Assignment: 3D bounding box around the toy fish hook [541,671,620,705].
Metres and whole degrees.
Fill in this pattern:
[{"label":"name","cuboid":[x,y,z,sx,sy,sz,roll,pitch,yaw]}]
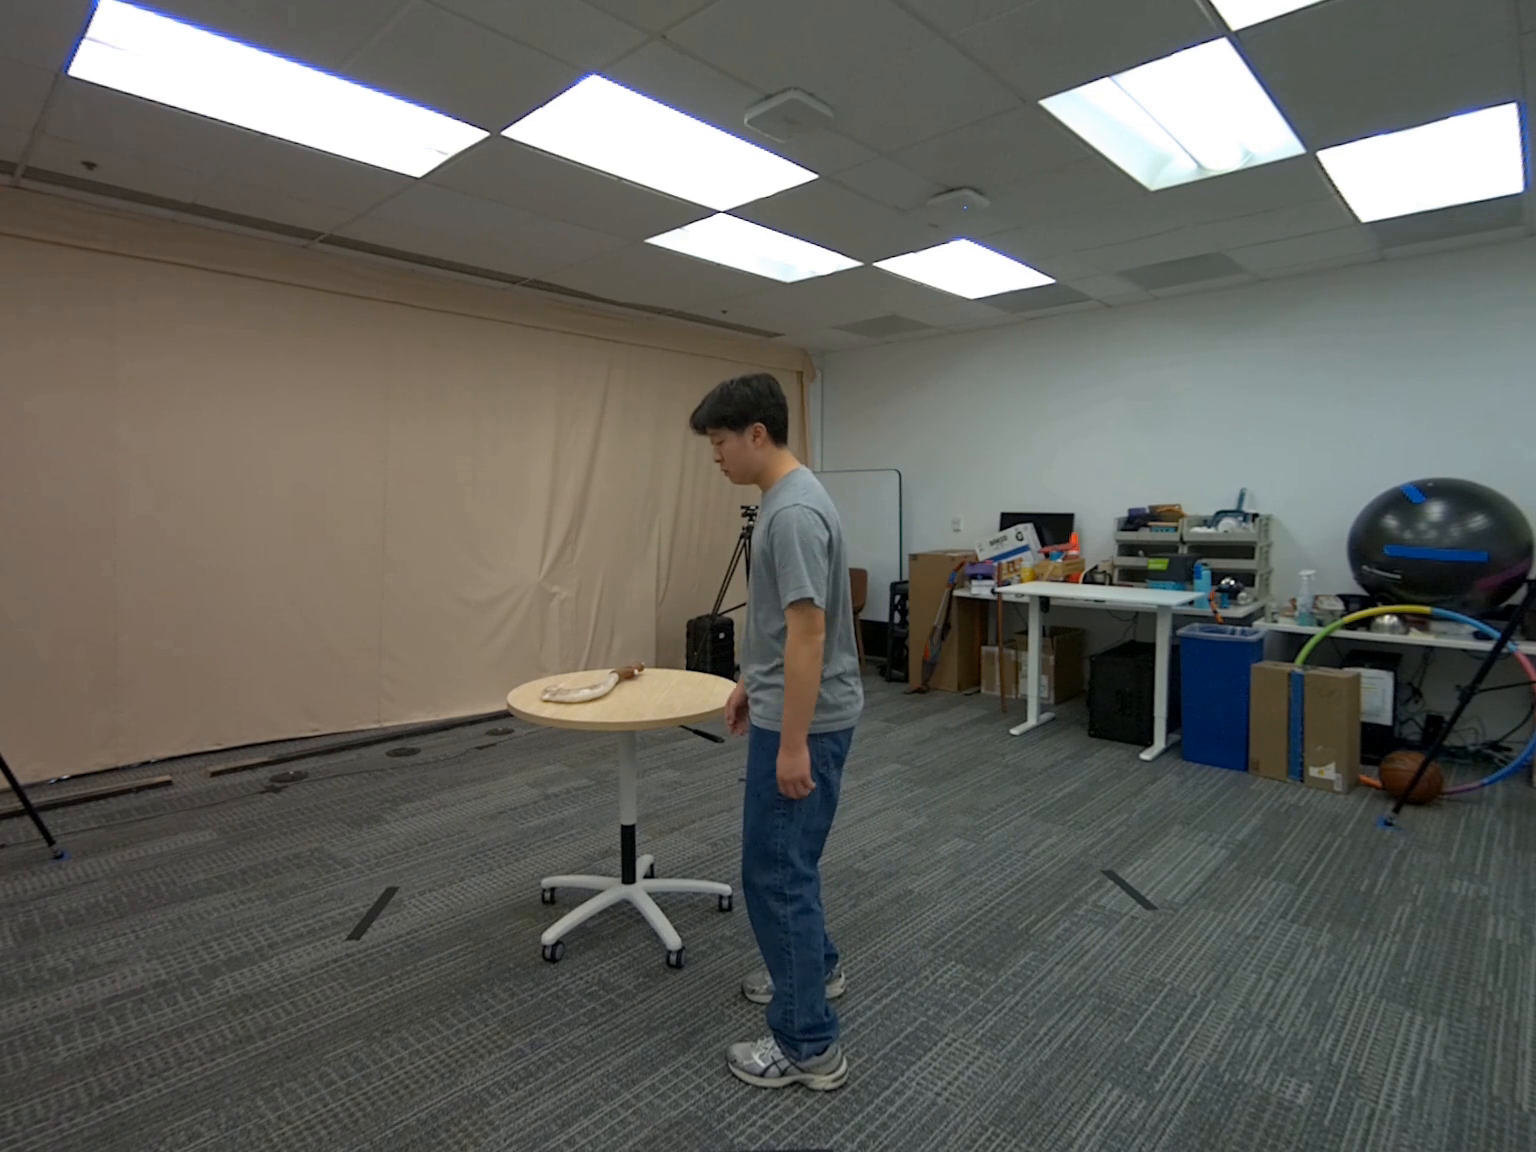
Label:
[{"label":"toy fish hook","cuboid":[-0.587,0.360,2.832,0.229,0.048,0.498,2,5,17]}]
